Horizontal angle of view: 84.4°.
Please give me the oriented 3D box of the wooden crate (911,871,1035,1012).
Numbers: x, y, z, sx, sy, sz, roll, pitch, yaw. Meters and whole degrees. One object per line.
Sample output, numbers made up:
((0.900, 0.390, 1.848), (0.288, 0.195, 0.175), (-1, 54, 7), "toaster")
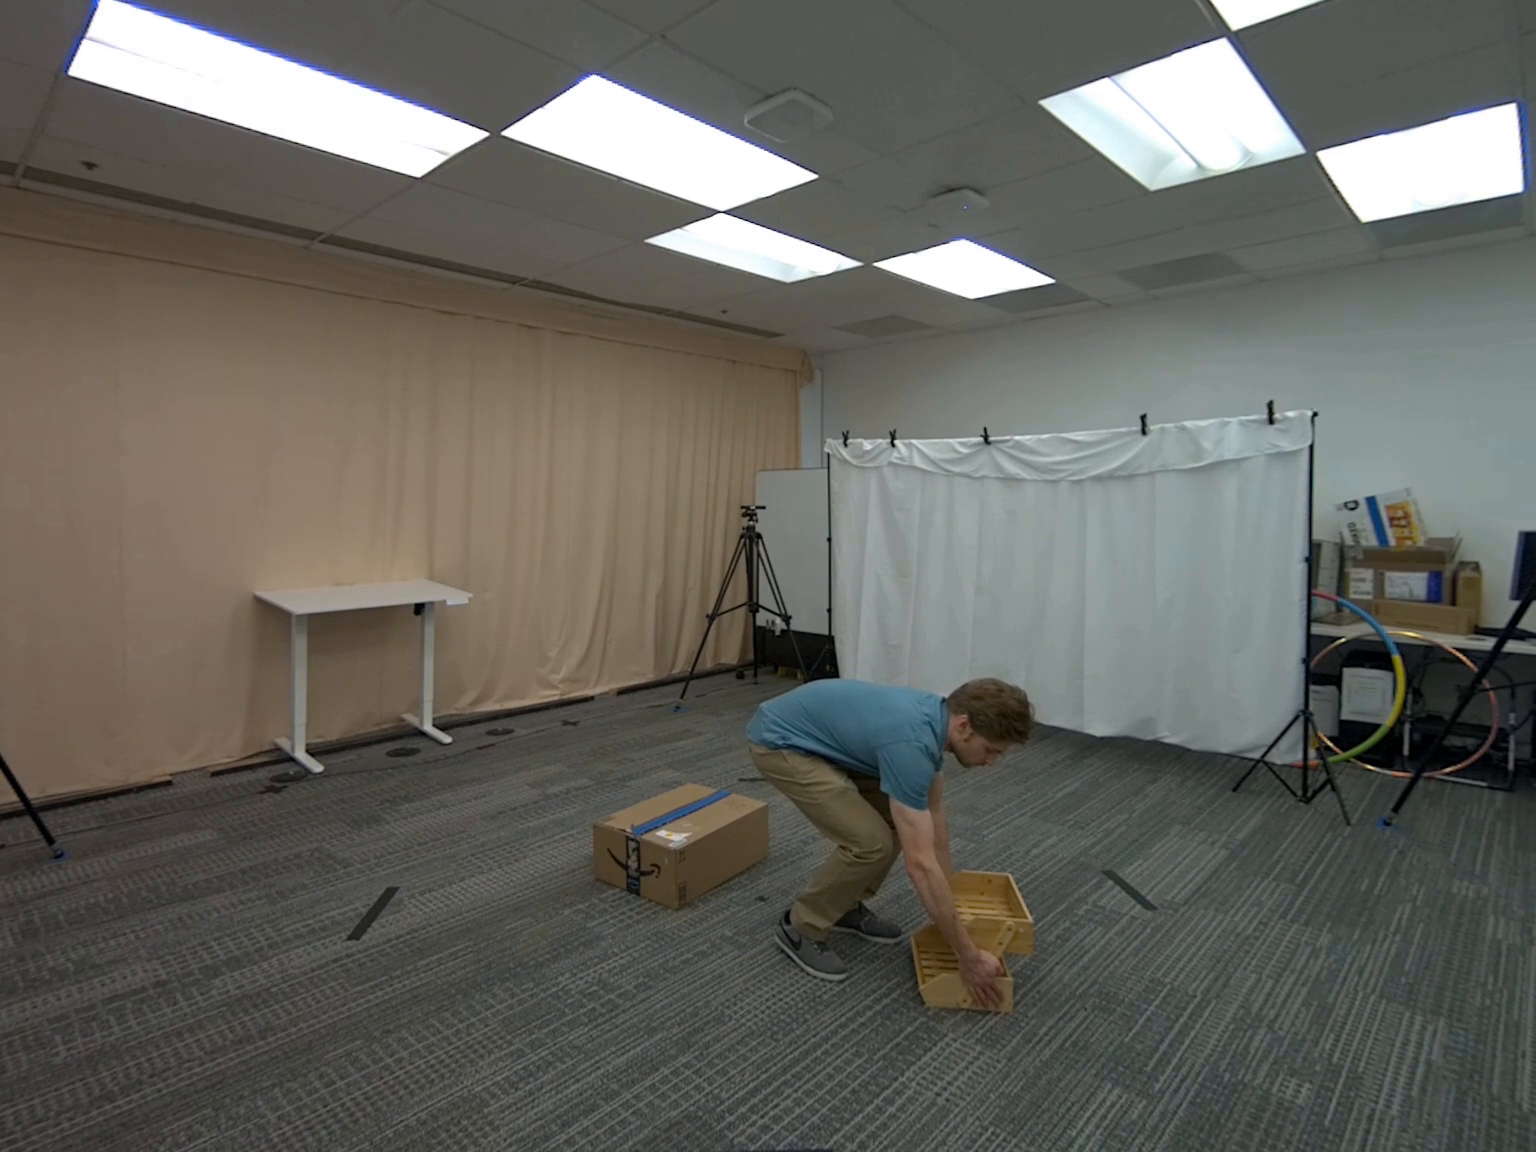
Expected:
((0.586, 1.053, 2.464), (0.304, 0.272, 0.323), (1, 5, 5), "wooden crate")
